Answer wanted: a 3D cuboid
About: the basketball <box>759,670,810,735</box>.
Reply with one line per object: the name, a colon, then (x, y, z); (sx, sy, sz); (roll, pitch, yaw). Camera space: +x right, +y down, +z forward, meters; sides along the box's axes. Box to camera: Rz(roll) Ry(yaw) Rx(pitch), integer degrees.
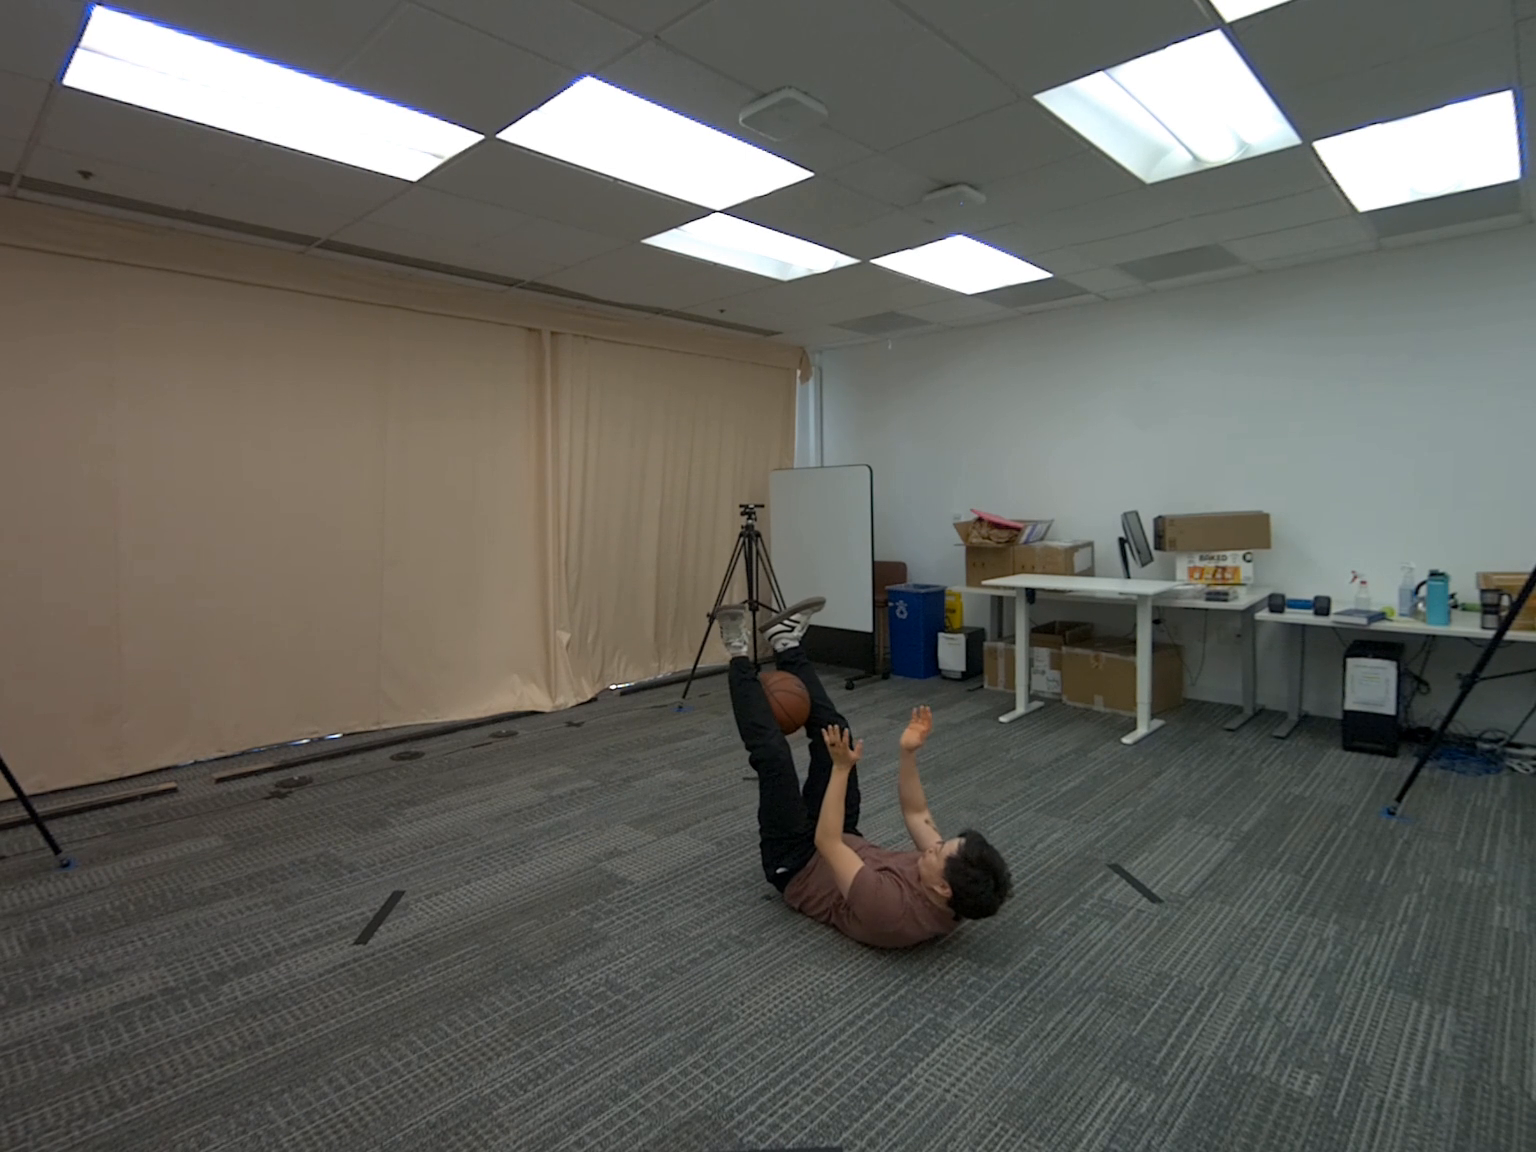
basketball: (0.036, 0.474, 3.089); (0.236, 0.235, 0.236); (-1, 3, -2)
